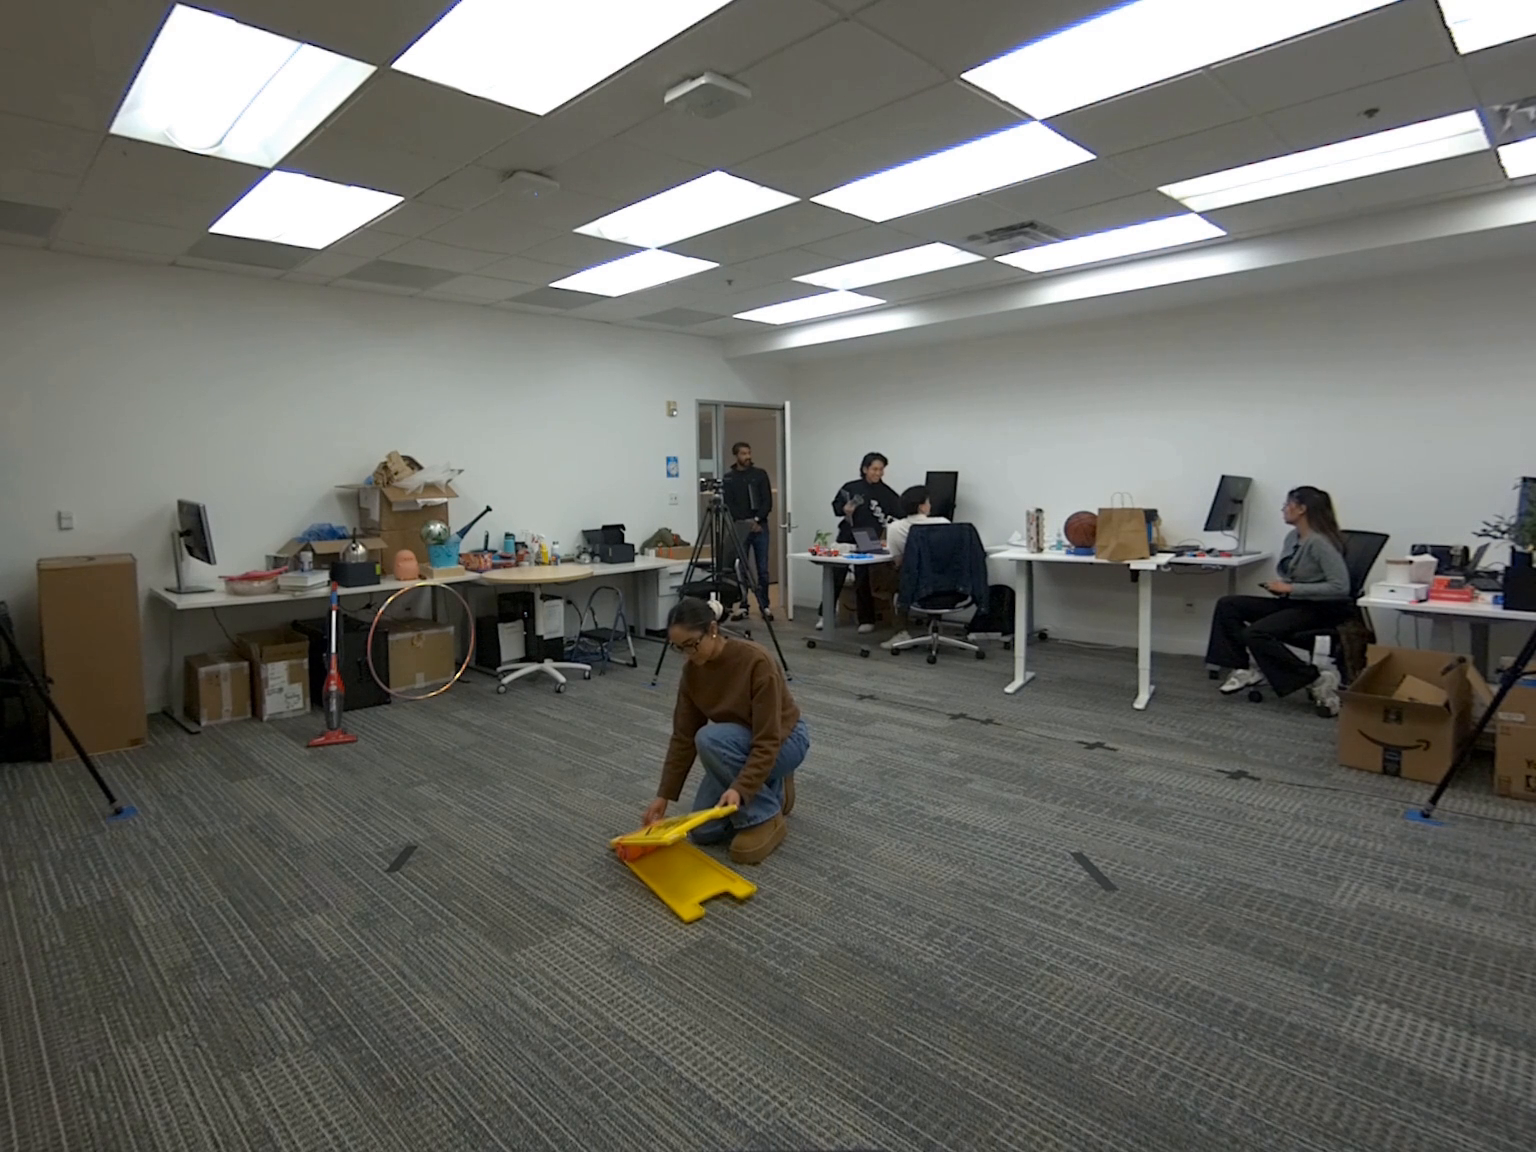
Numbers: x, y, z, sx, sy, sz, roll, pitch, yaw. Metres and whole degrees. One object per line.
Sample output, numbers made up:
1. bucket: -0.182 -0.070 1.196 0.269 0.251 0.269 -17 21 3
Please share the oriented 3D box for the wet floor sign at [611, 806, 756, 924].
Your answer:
1. wet floor sign: -0.346 0.967 3.029 0.276 0.290 0.658 -13 0 -33
